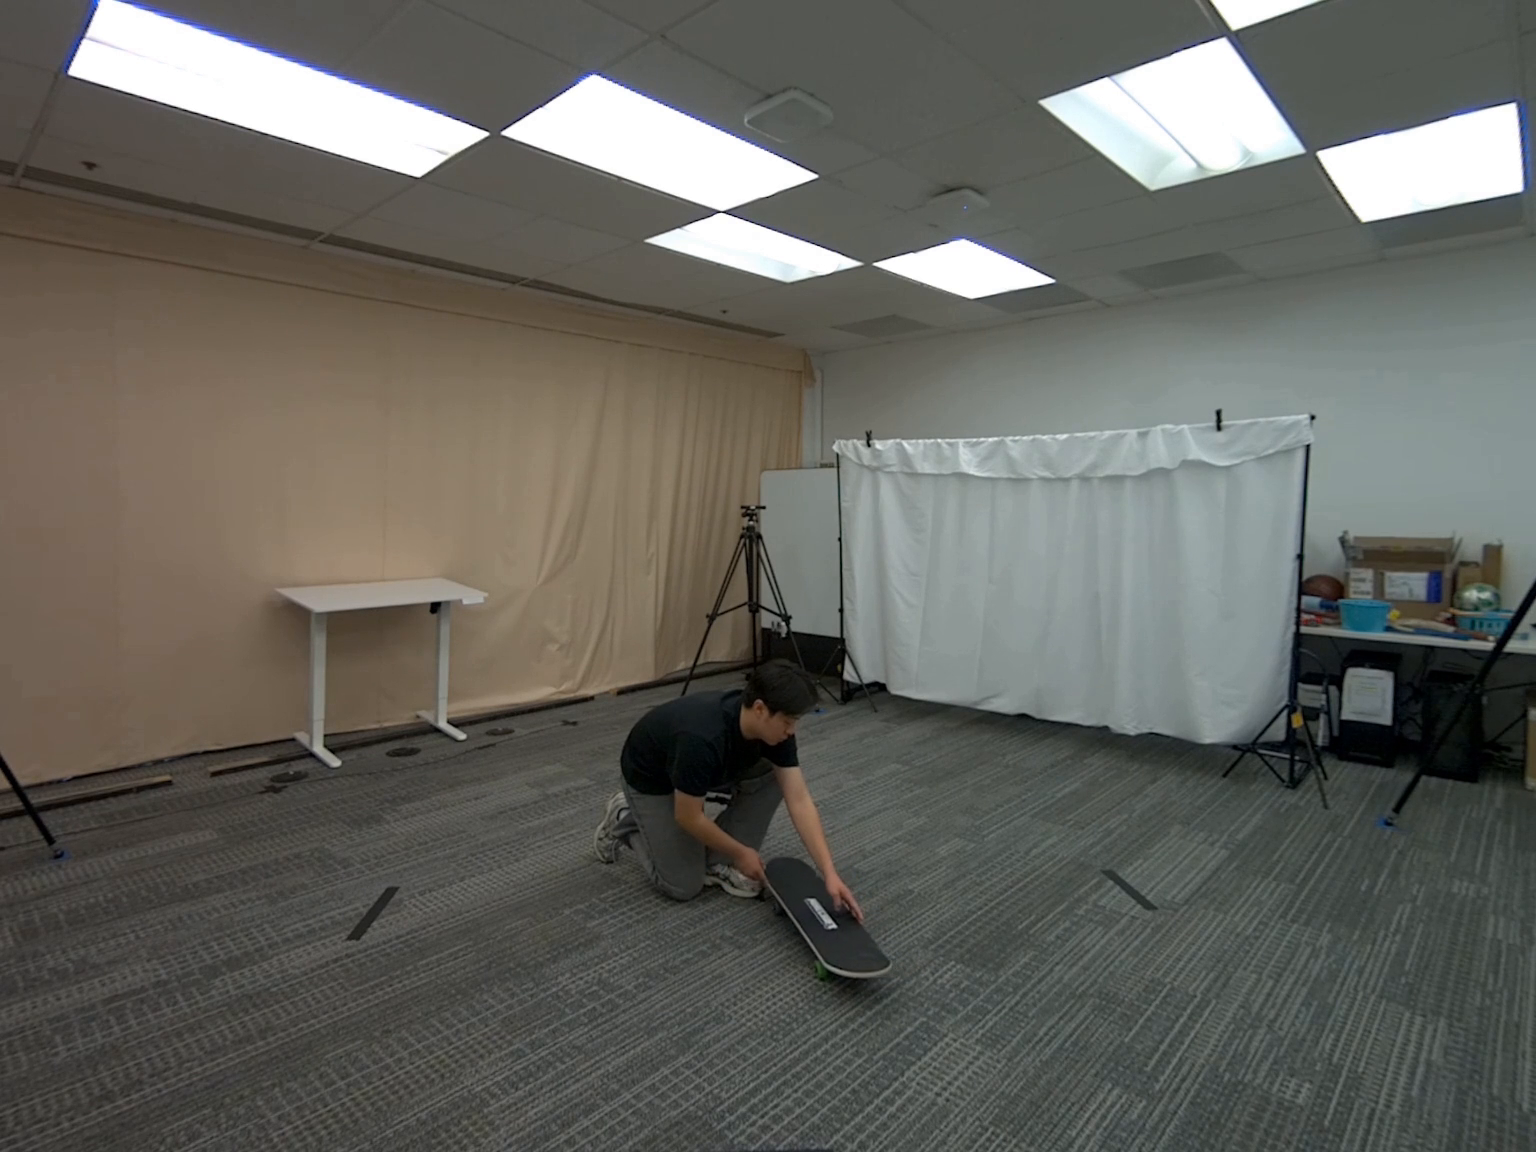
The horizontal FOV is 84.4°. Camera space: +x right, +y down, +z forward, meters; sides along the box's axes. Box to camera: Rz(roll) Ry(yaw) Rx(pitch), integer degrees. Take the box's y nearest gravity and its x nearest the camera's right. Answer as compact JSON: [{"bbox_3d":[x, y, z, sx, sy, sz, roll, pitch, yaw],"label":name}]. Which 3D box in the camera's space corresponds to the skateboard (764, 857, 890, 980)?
[{"bbox_3d":[0.171,1.108,2.697,0.190,0.110,0.800,-1,5,-17],"label":"skateboard"}]
